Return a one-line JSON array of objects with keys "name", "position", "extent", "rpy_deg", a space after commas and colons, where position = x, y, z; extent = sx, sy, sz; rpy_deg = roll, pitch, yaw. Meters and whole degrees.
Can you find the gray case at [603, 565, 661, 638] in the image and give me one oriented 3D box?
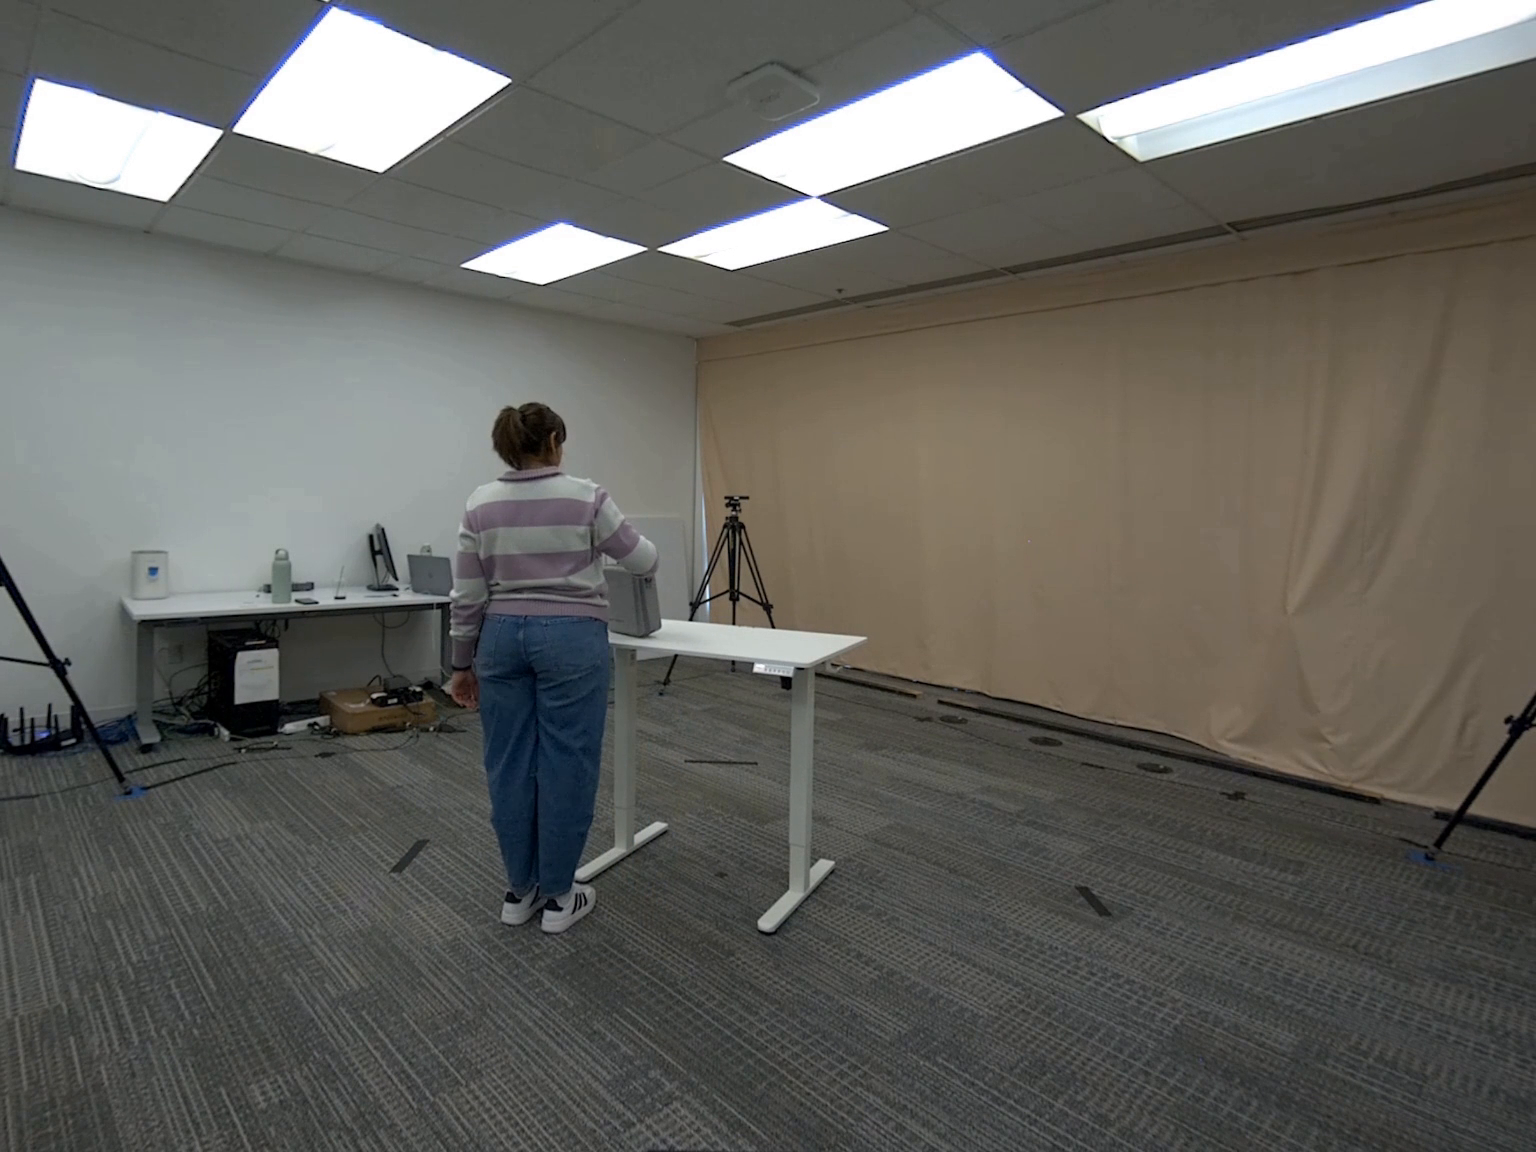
[{"name": "gray case", "position": [-0.517, 0.077, 3.087], "extent": [0.102, 0.259, 0.263], "rpy_deg": [-10, 9, -37]}]
